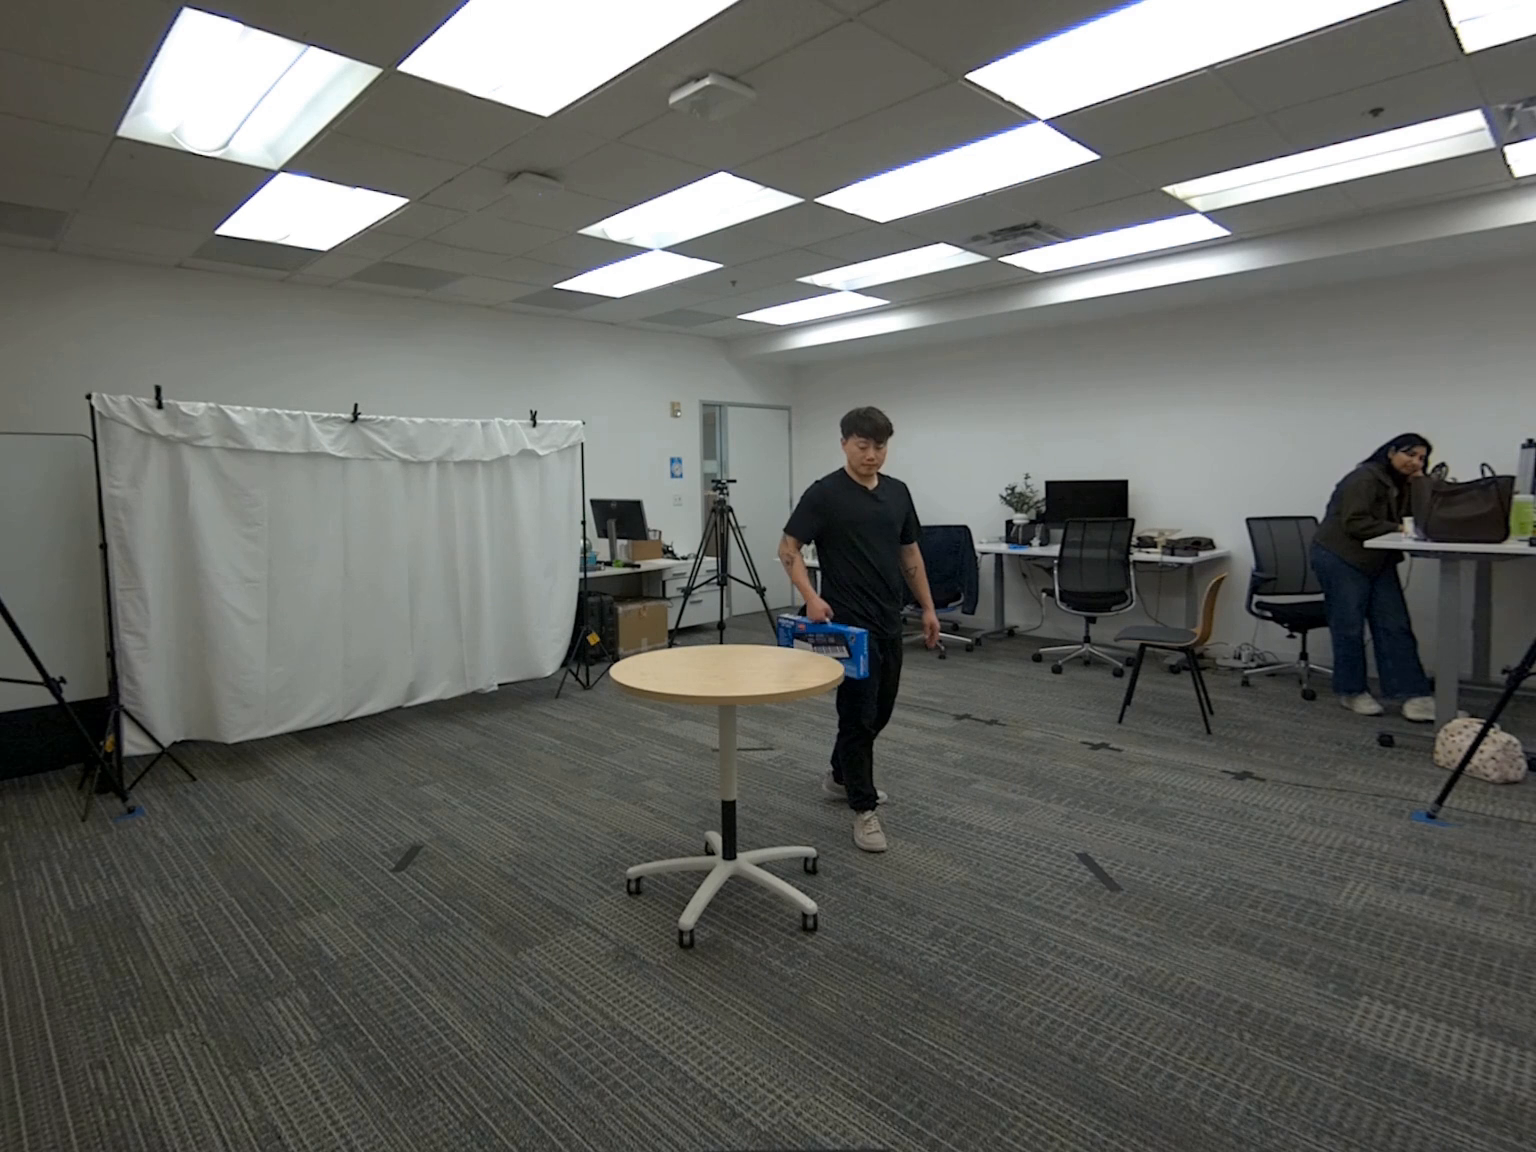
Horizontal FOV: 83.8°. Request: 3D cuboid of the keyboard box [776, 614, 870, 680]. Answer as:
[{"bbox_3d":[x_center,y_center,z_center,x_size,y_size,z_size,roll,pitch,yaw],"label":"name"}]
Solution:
[{"bbox_3d":[0.202,0.260,3.260,0.057,0.175,0.450,-6,9,-38],"label":"keyboard box"}]
